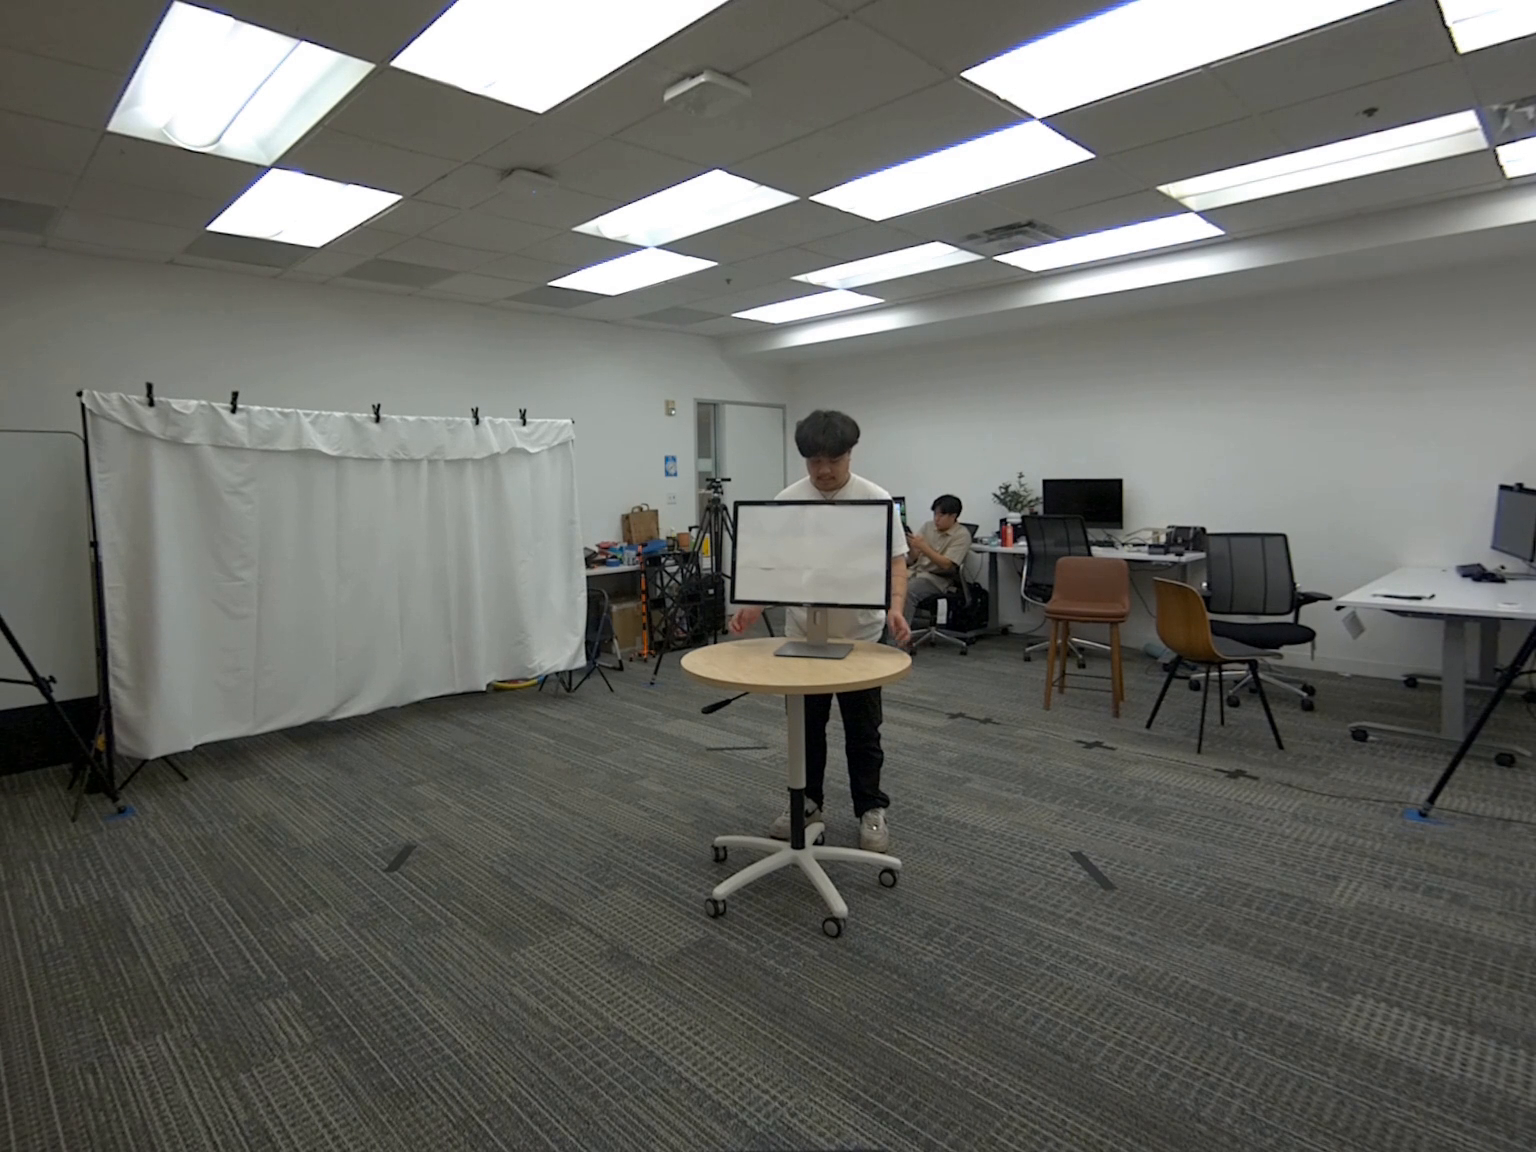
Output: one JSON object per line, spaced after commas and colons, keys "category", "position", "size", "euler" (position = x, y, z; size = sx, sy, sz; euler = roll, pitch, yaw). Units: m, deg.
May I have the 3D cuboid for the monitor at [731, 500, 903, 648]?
{"category": "monitor", "position": [0.175, 0.009, 2.962], "size": [0.577, 0.554, 0.206], "euler": [1, 0, 21]}
